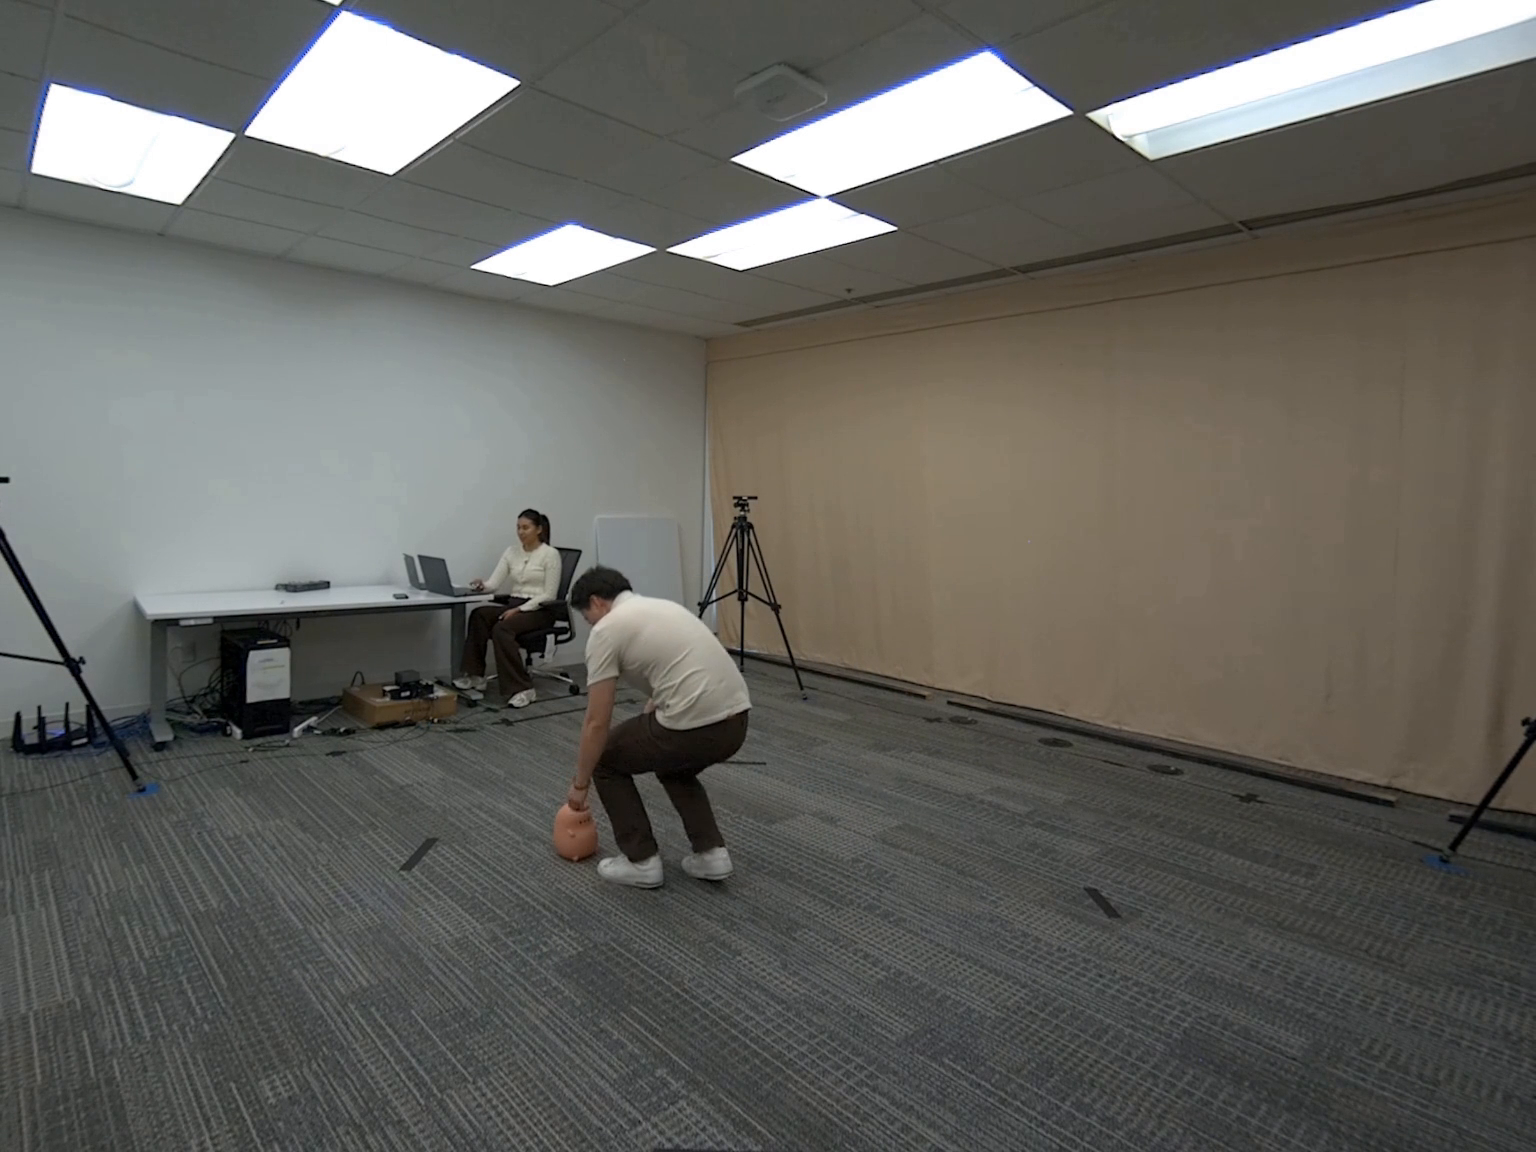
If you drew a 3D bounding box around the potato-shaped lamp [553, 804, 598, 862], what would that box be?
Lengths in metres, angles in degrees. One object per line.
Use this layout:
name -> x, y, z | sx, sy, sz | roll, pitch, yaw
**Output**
potato-shaped lamp -> -0.748, 0.969, 3.248 | 0.176, 0.197, 0.161 | 4, 7, 42
